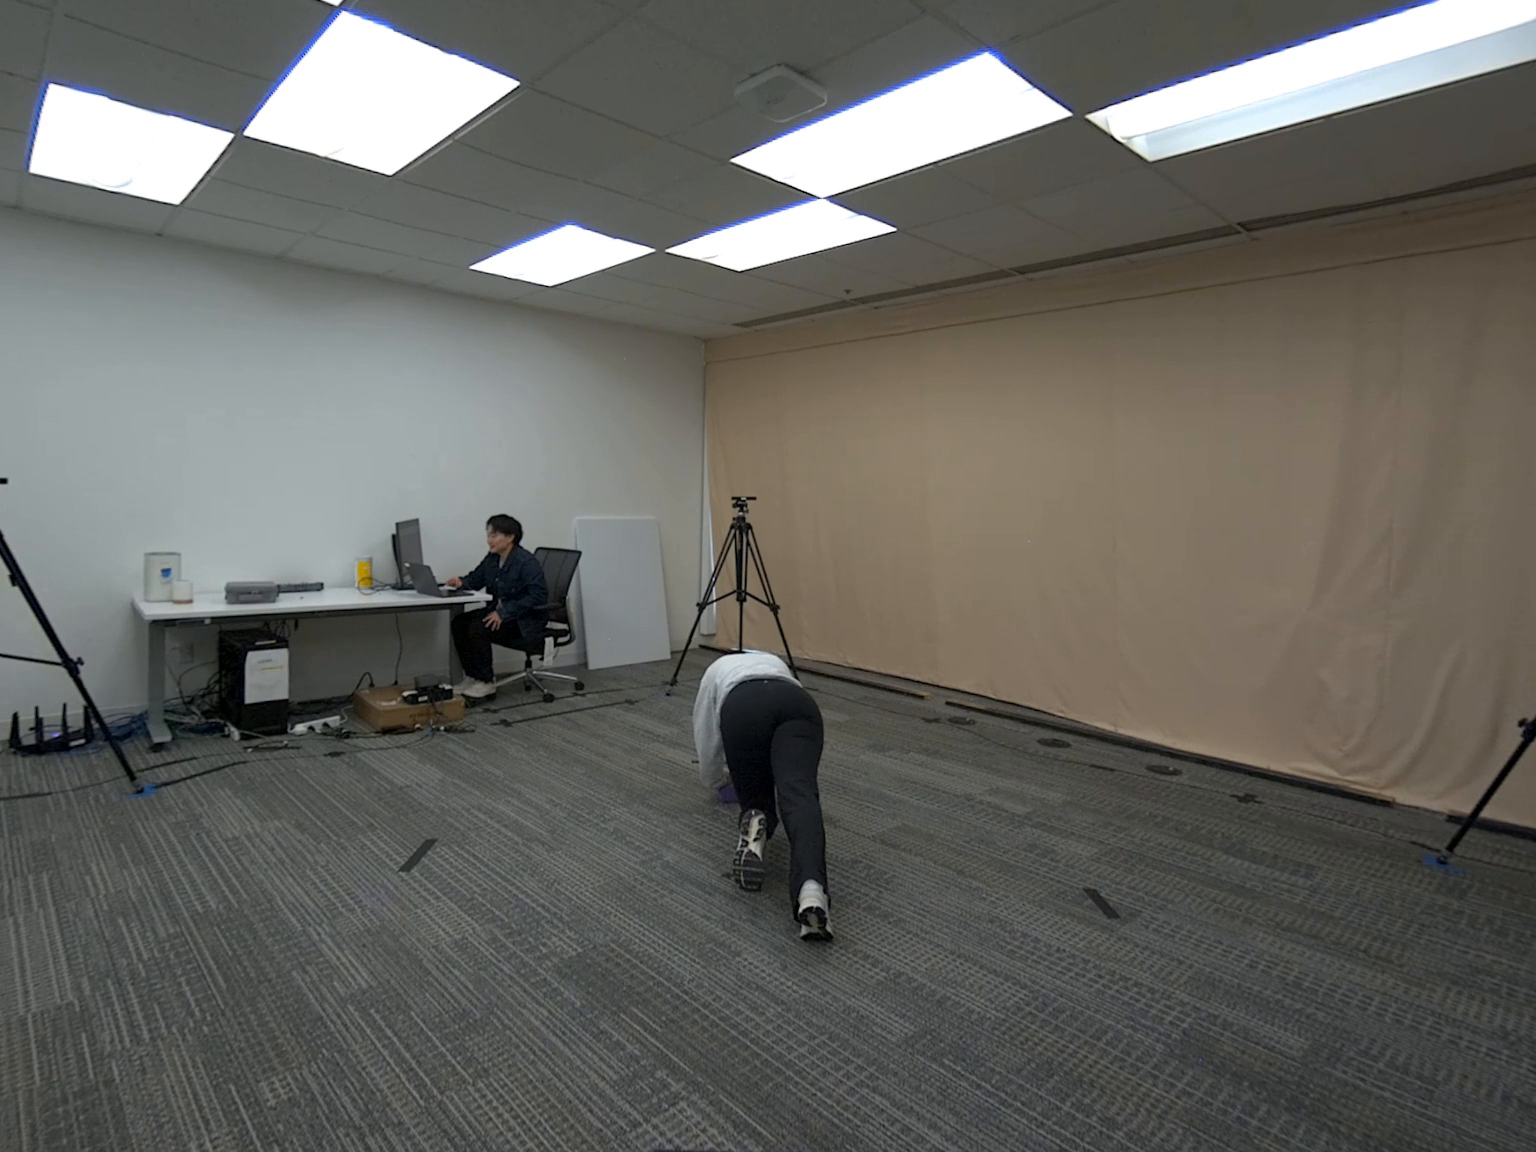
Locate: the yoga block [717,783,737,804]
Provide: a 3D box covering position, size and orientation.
[{"bbox_3d":[-0.131,1.006,3.947,0.227,0.076,0.150,0,3,-12],"label":"yoga block"}]
